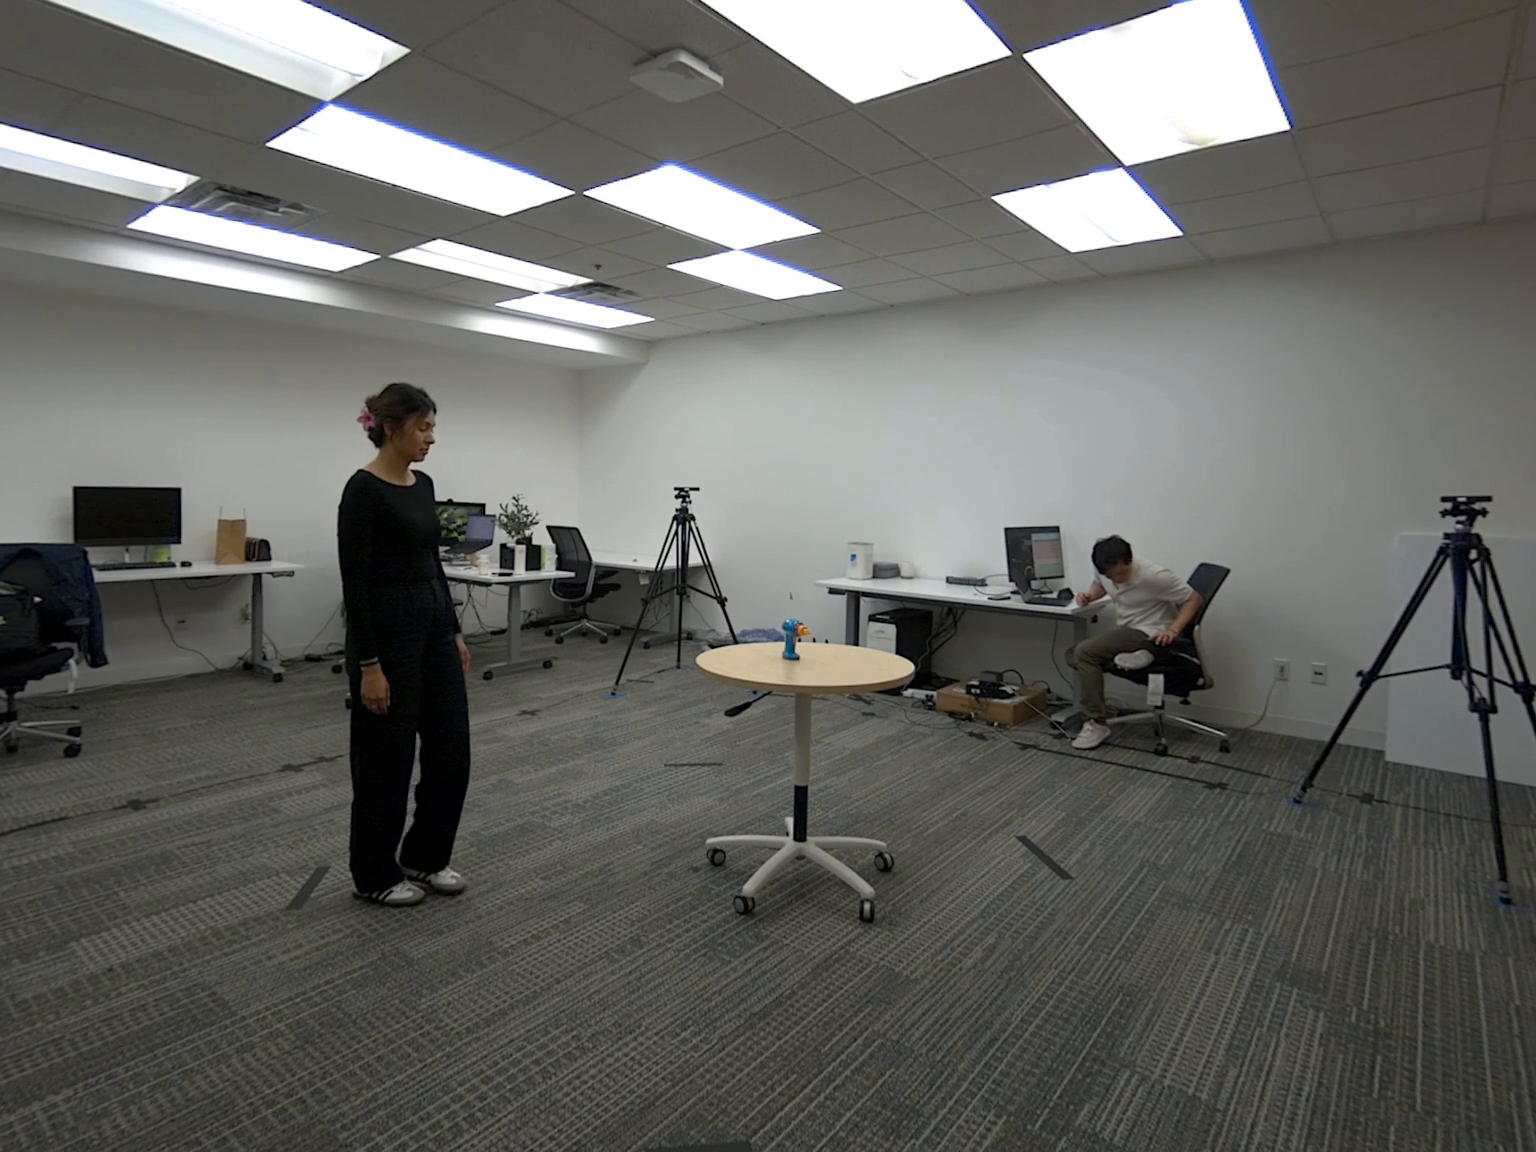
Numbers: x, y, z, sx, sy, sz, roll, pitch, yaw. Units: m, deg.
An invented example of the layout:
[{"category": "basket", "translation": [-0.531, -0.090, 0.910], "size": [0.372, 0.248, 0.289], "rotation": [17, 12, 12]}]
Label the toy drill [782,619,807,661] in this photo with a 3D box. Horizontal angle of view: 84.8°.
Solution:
[{"category": "toy drill", "translation": [0.096, 0.230, 3.010], "size": [0.059, 0.145, 0.175], "rotation": [-2, 6, -30]}]
